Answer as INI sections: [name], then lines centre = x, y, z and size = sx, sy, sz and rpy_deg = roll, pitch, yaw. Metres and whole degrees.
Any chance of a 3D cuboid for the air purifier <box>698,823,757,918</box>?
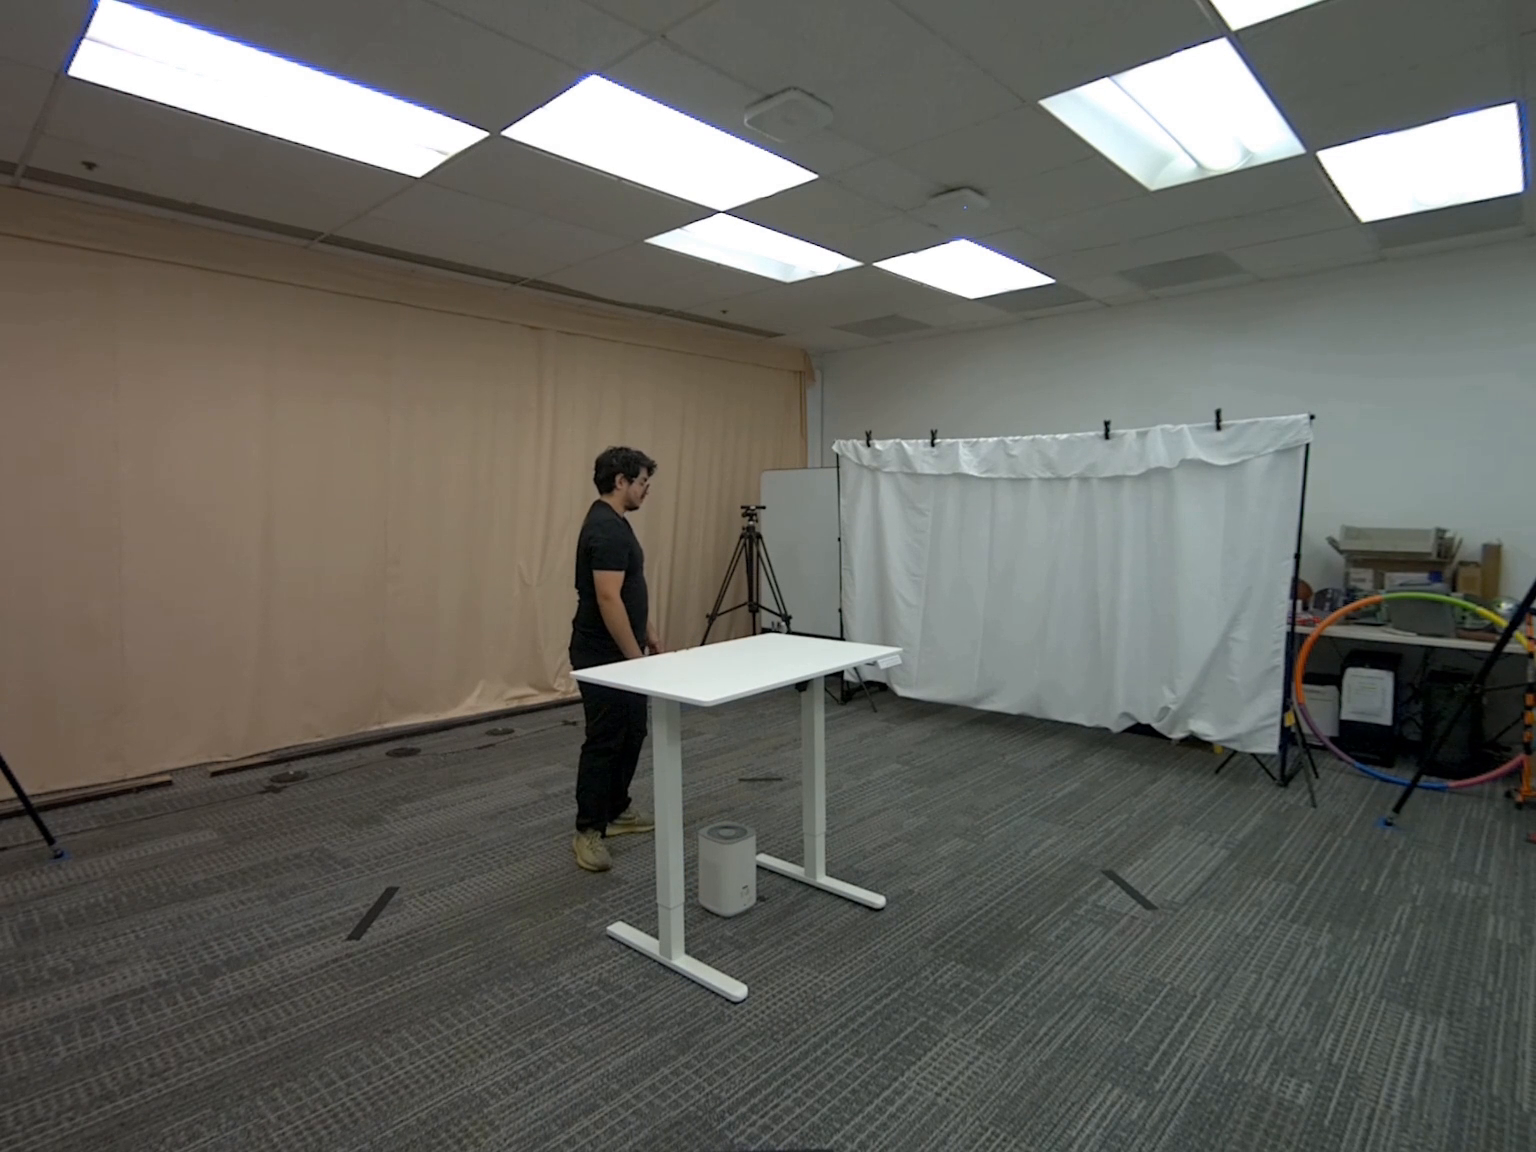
[air purifier]
centre = -0.137, 1.013, 2.919
size = 0.177, 0.265, 0.166
rpy_deg = 3, 5, 42
